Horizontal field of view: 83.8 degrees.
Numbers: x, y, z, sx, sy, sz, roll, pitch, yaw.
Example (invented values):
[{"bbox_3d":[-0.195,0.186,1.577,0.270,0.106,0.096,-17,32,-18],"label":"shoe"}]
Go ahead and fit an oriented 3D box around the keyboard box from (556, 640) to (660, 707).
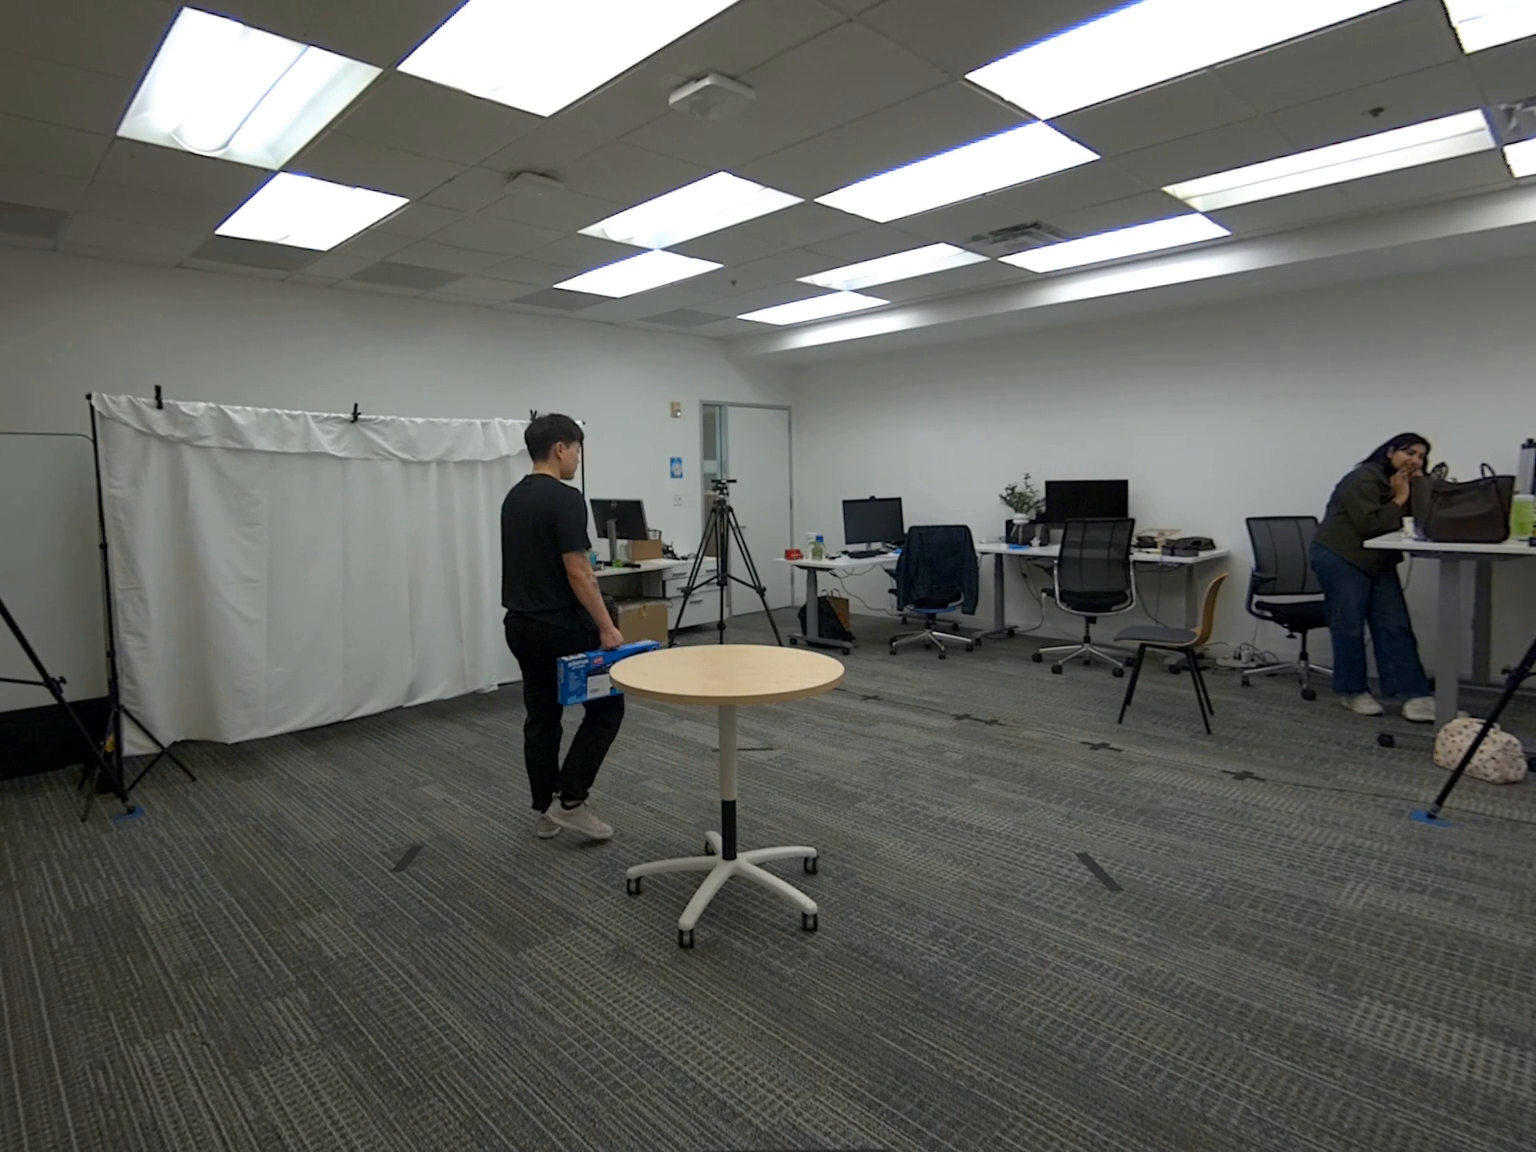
[{"bbox_3d":[-0.599,0.369,3.280,0.426,0.175,0.061,-8,11,-42],"label":"keyboard box"}]
